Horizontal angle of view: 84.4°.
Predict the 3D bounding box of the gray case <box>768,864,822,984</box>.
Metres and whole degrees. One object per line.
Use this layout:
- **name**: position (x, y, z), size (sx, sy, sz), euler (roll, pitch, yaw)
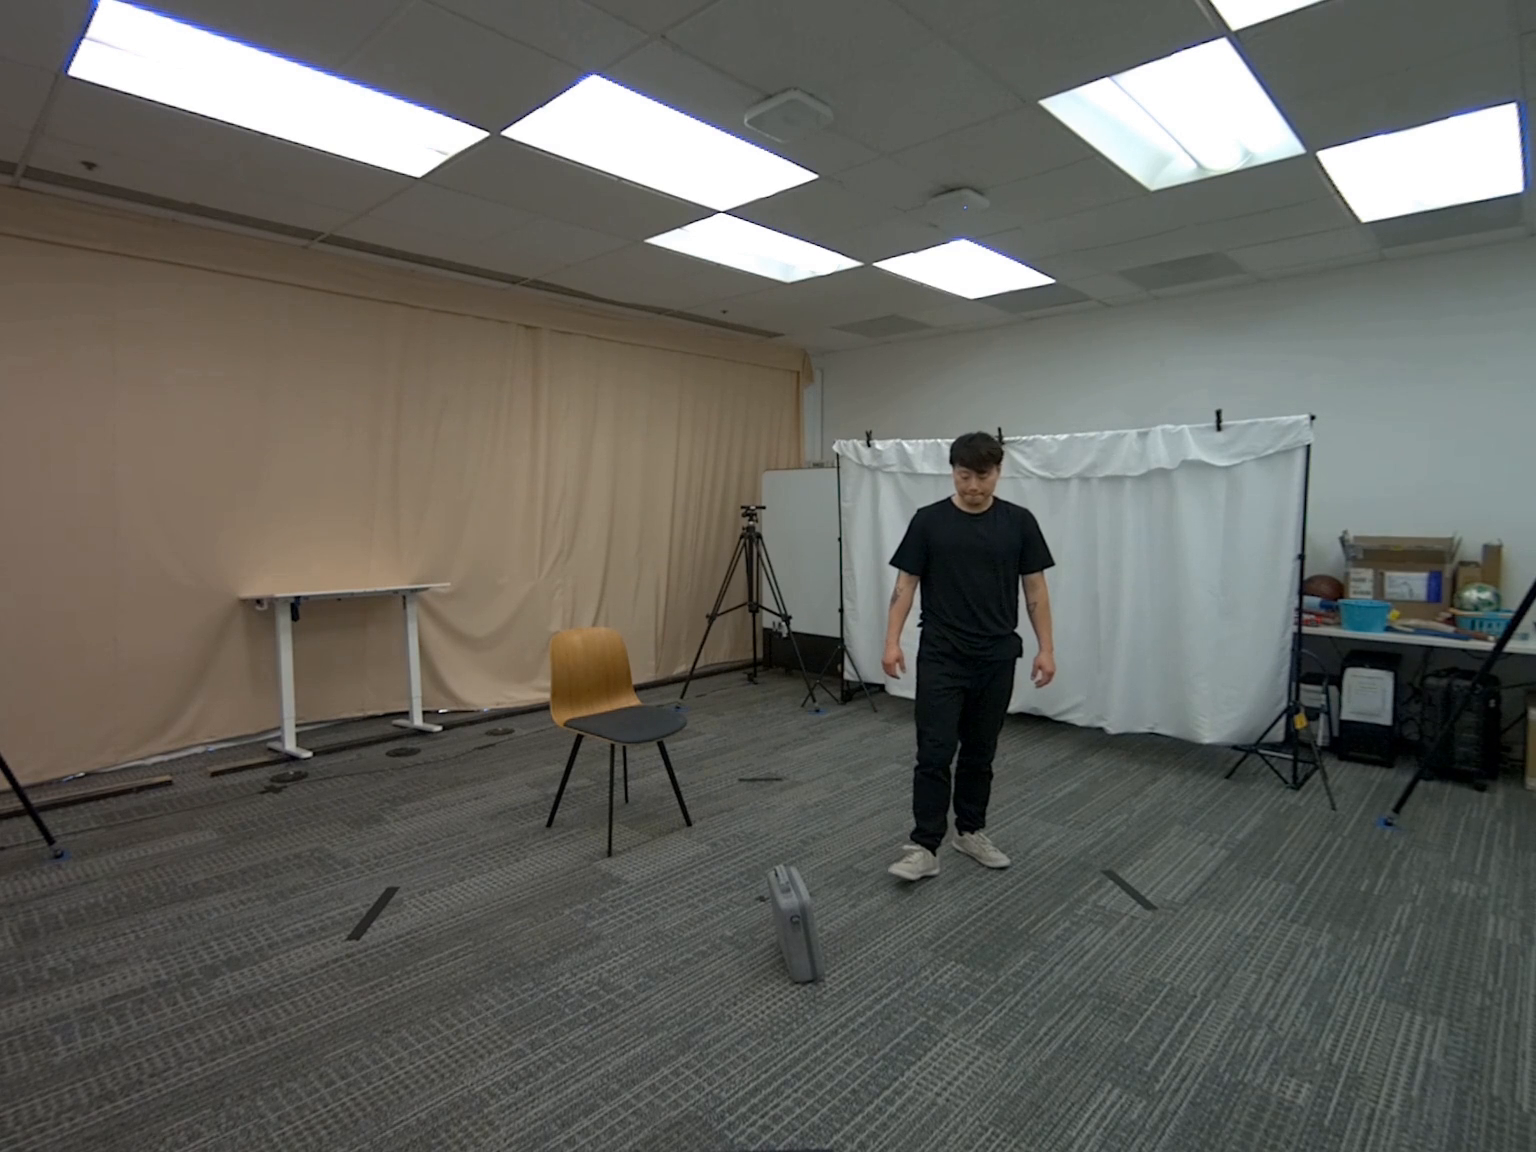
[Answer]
- **gray case**: position (0.083, 1.043, 2.551), size (0.104, 0.260, 0.259), euler (-8, 3, -8)
